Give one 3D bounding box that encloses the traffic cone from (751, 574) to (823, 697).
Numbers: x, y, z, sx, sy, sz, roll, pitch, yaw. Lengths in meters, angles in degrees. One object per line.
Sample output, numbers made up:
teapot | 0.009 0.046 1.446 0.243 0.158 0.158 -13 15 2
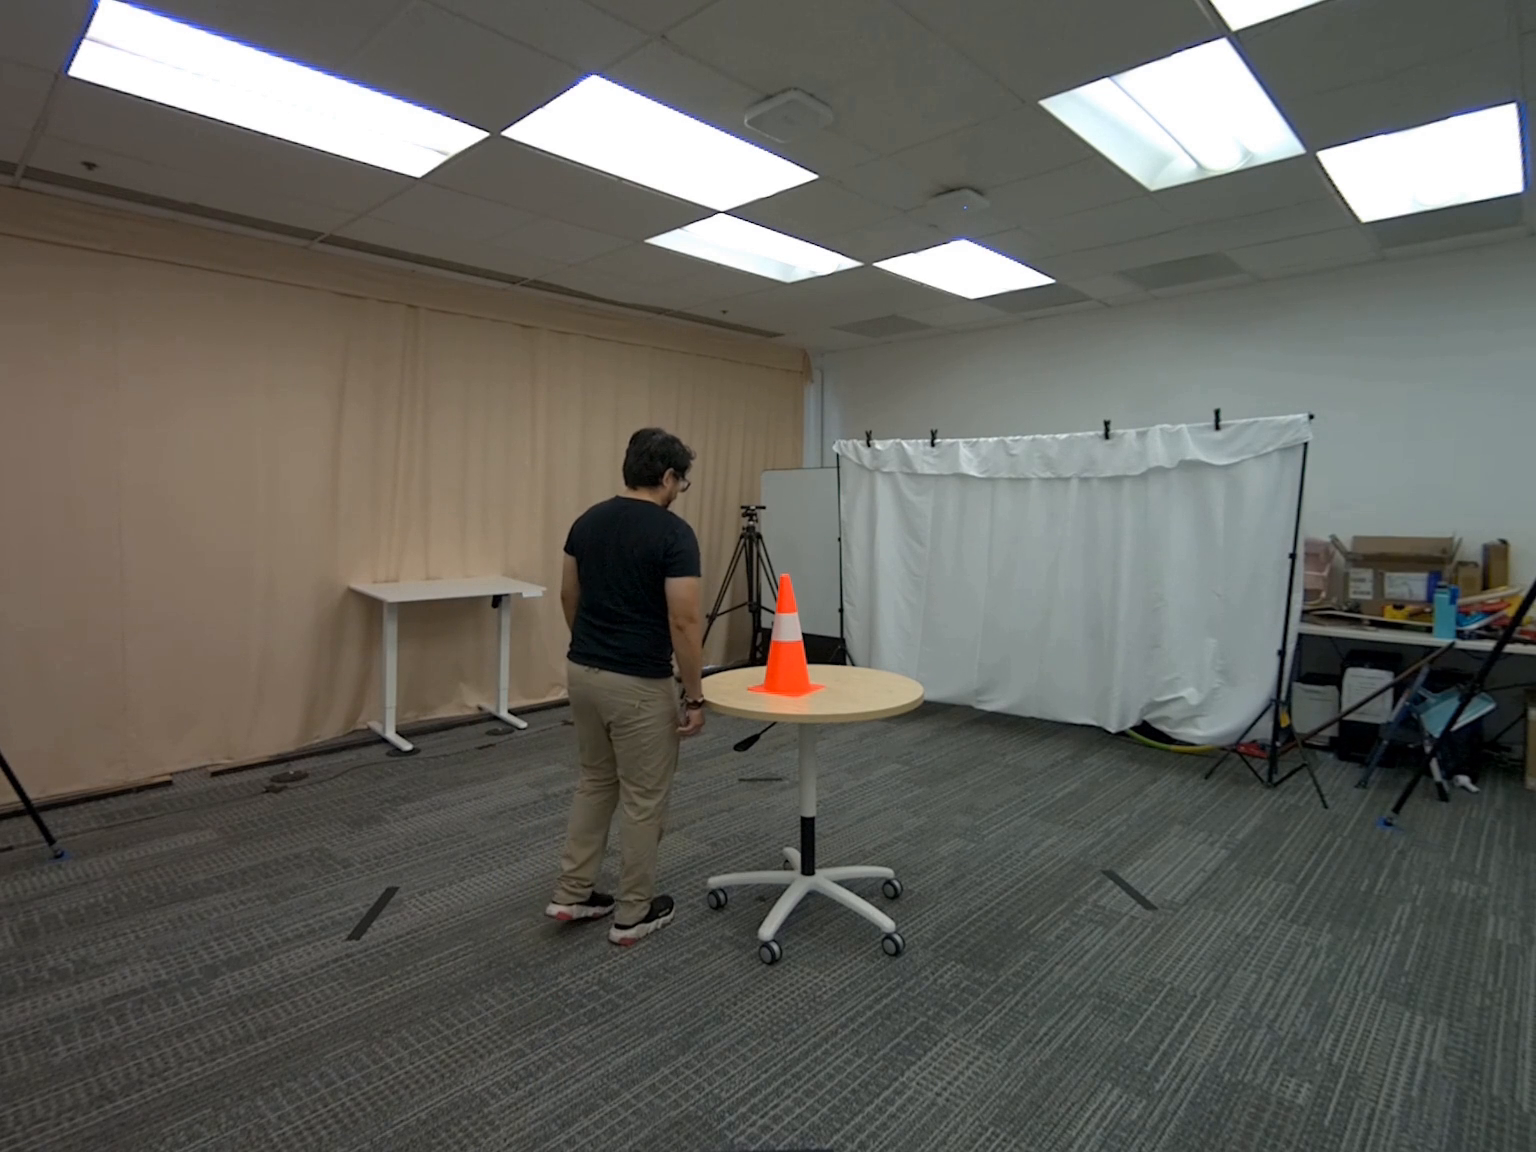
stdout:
traffic cone | 0.063 0.188 2.795 0.211 0.383 0.197 2 4 37
